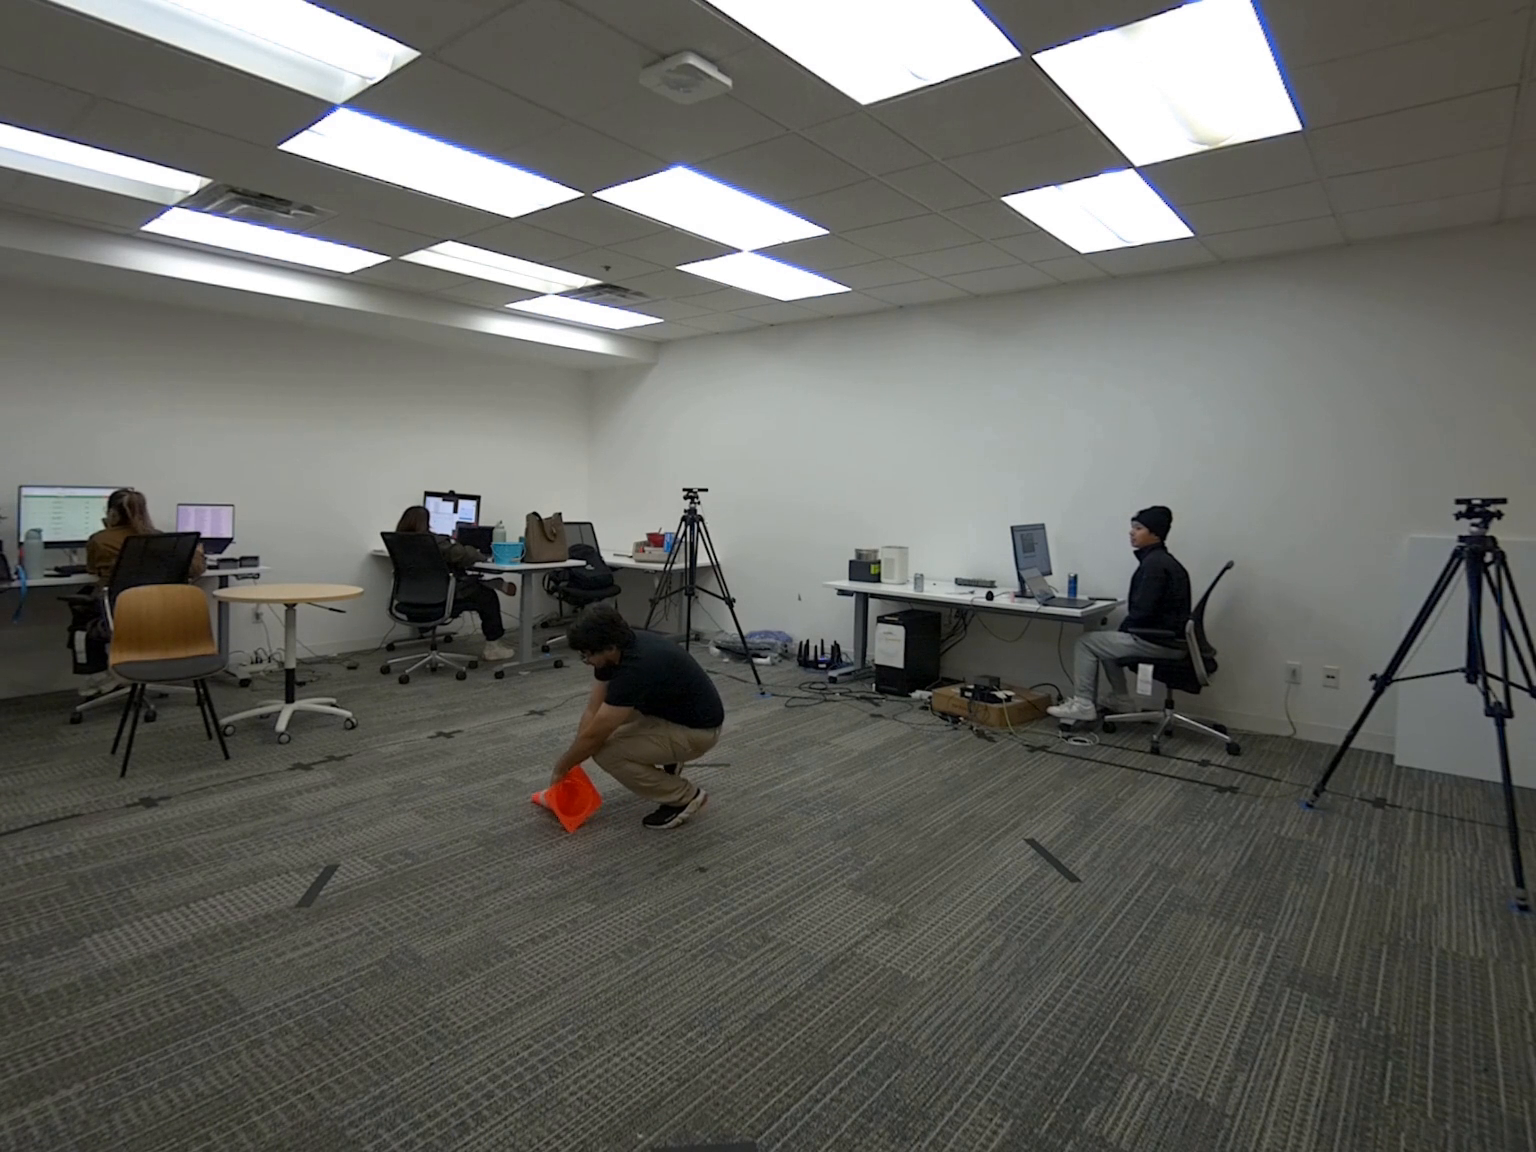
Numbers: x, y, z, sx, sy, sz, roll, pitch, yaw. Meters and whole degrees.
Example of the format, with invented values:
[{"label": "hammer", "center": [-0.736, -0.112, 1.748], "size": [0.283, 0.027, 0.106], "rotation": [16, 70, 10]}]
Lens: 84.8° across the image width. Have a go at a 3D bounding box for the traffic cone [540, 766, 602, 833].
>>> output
[{"label": "traffic cone", "center": [-0.930, 0.952, 3.634], "size": [0.390, 0.200, 0.204], "rotation": [-21, 18, 49]}]
